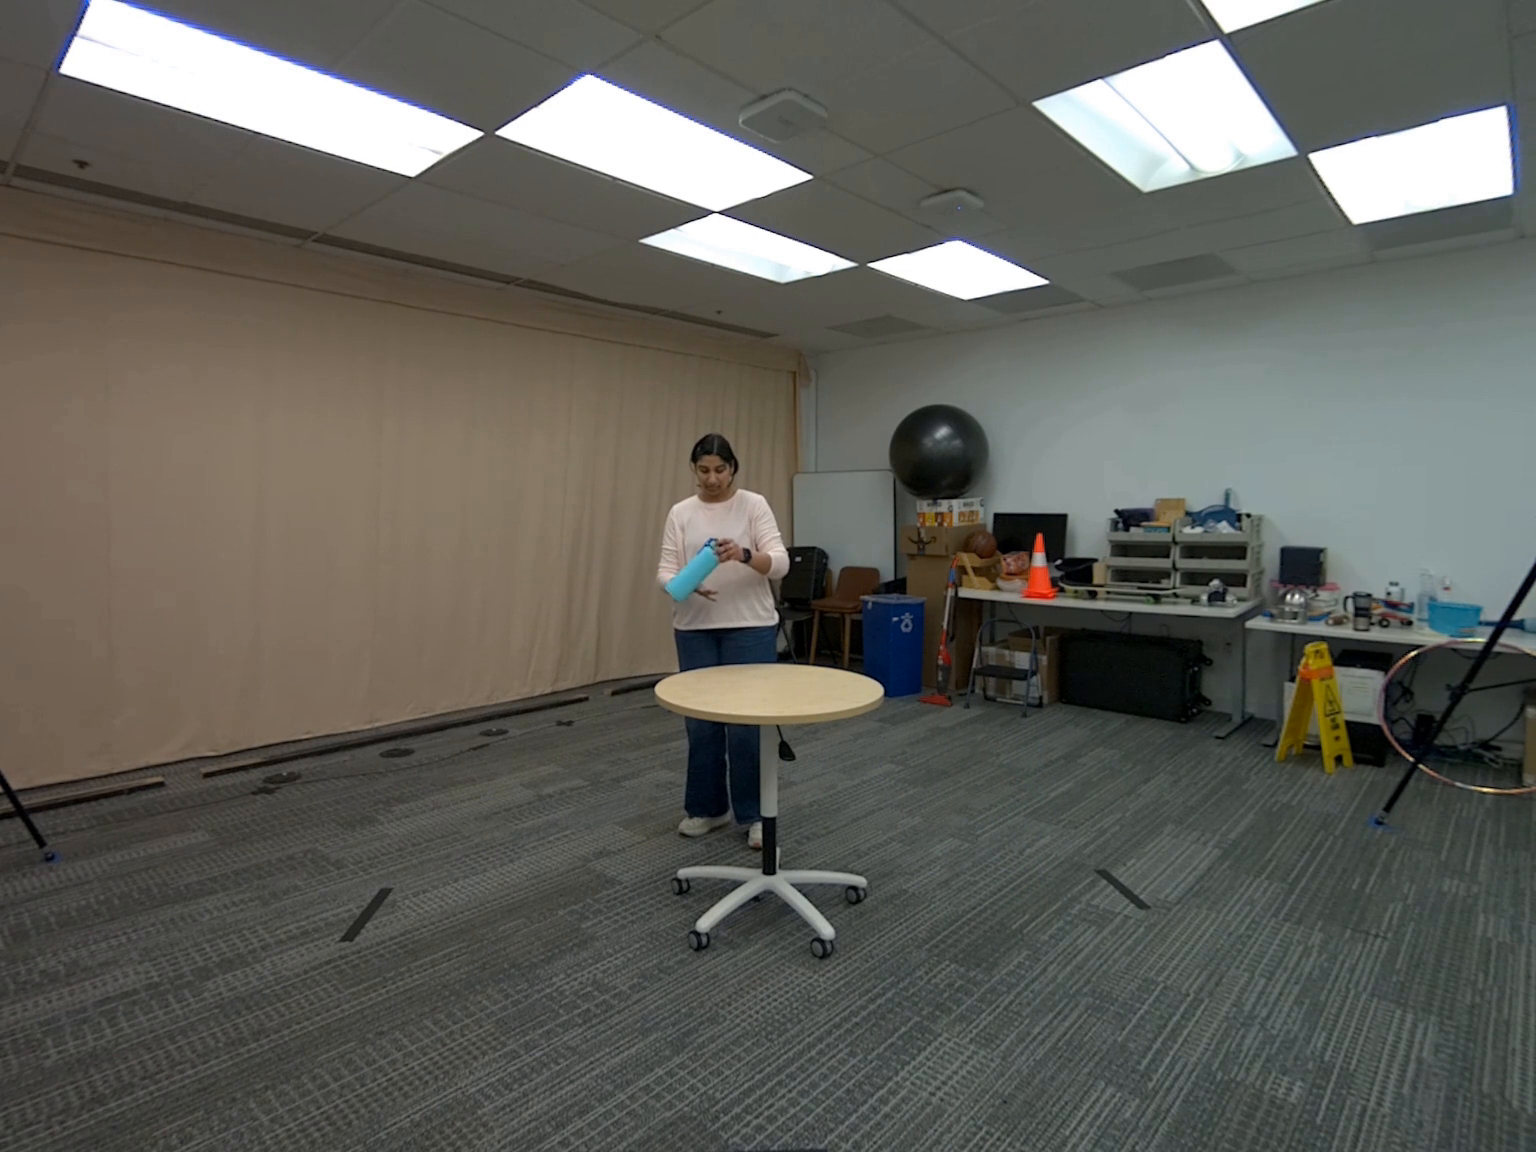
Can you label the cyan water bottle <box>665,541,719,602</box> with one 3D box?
[{"bbox_3d":[-0.265,-0.028,3.180,0.092,0.283,0.093,42,4,-5],"label":"cyan water bottle"}]
